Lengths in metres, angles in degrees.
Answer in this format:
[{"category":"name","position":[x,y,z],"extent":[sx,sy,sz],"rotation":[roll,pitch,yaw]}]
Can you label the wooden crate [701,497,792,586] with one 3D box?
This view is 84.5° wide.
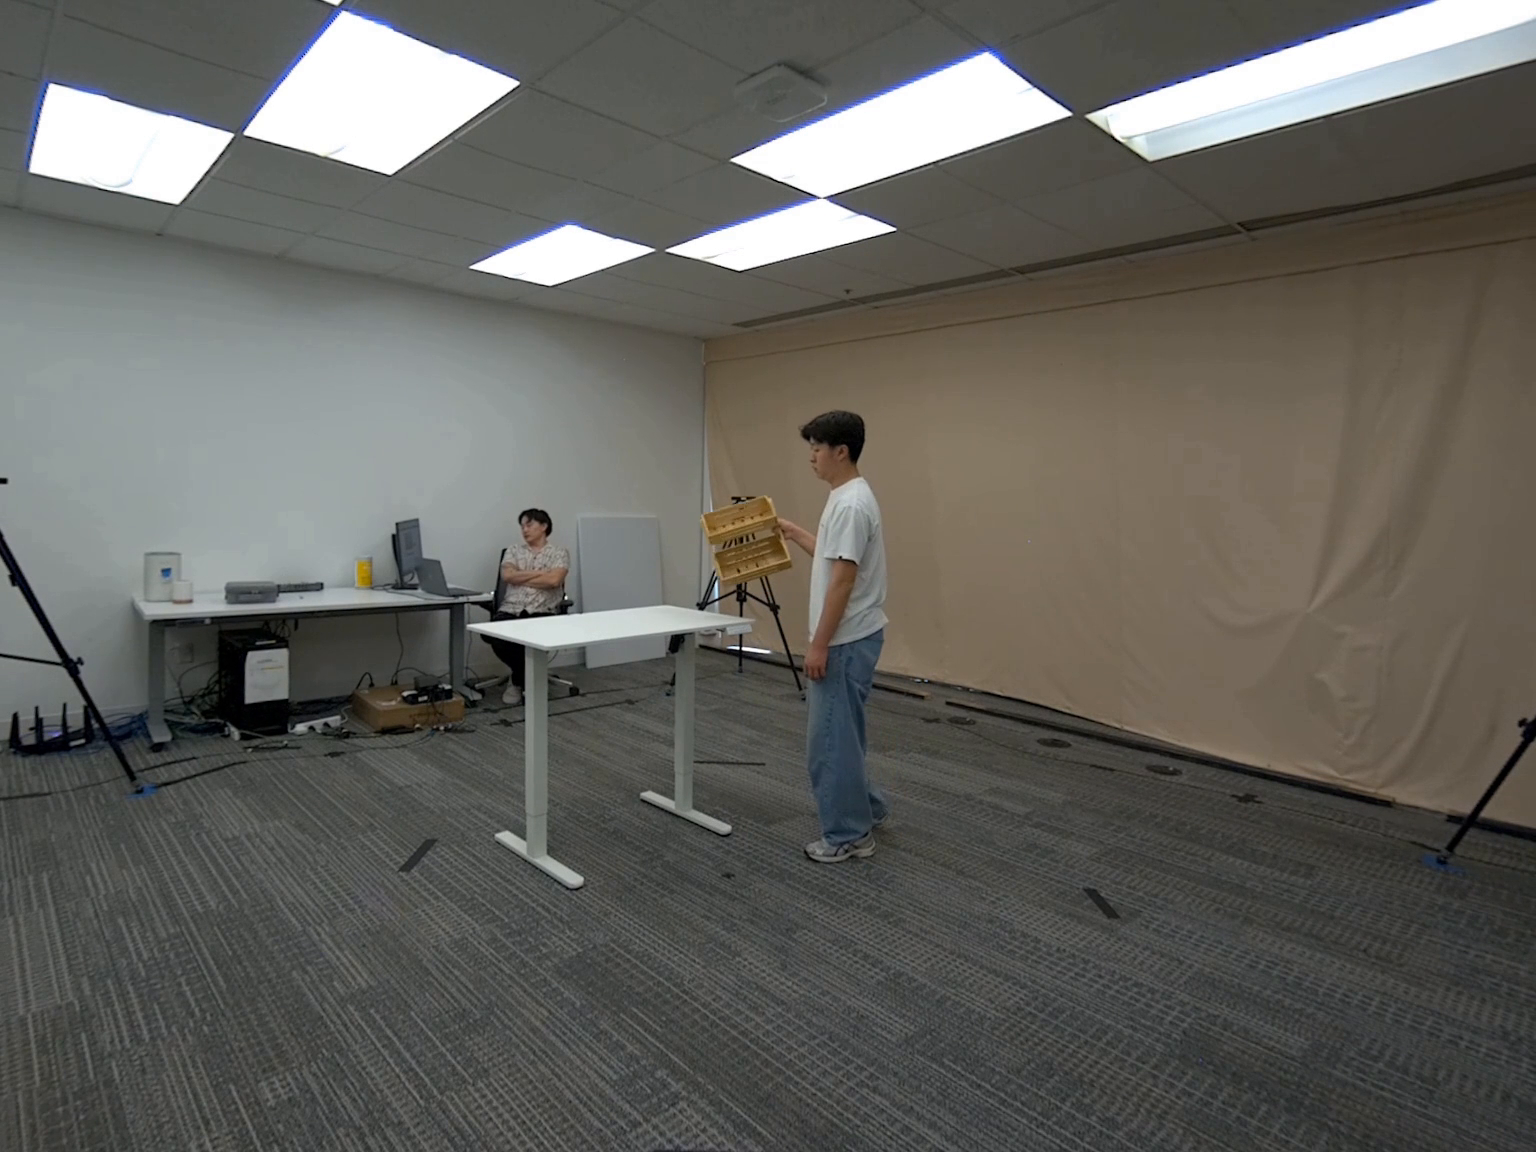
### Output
[{"category":"wooden crate","position":[-0.099,-0.149,3.582],"extent":[0.324,0.269,0.307],"rotation":[-17,18,-4]}]
